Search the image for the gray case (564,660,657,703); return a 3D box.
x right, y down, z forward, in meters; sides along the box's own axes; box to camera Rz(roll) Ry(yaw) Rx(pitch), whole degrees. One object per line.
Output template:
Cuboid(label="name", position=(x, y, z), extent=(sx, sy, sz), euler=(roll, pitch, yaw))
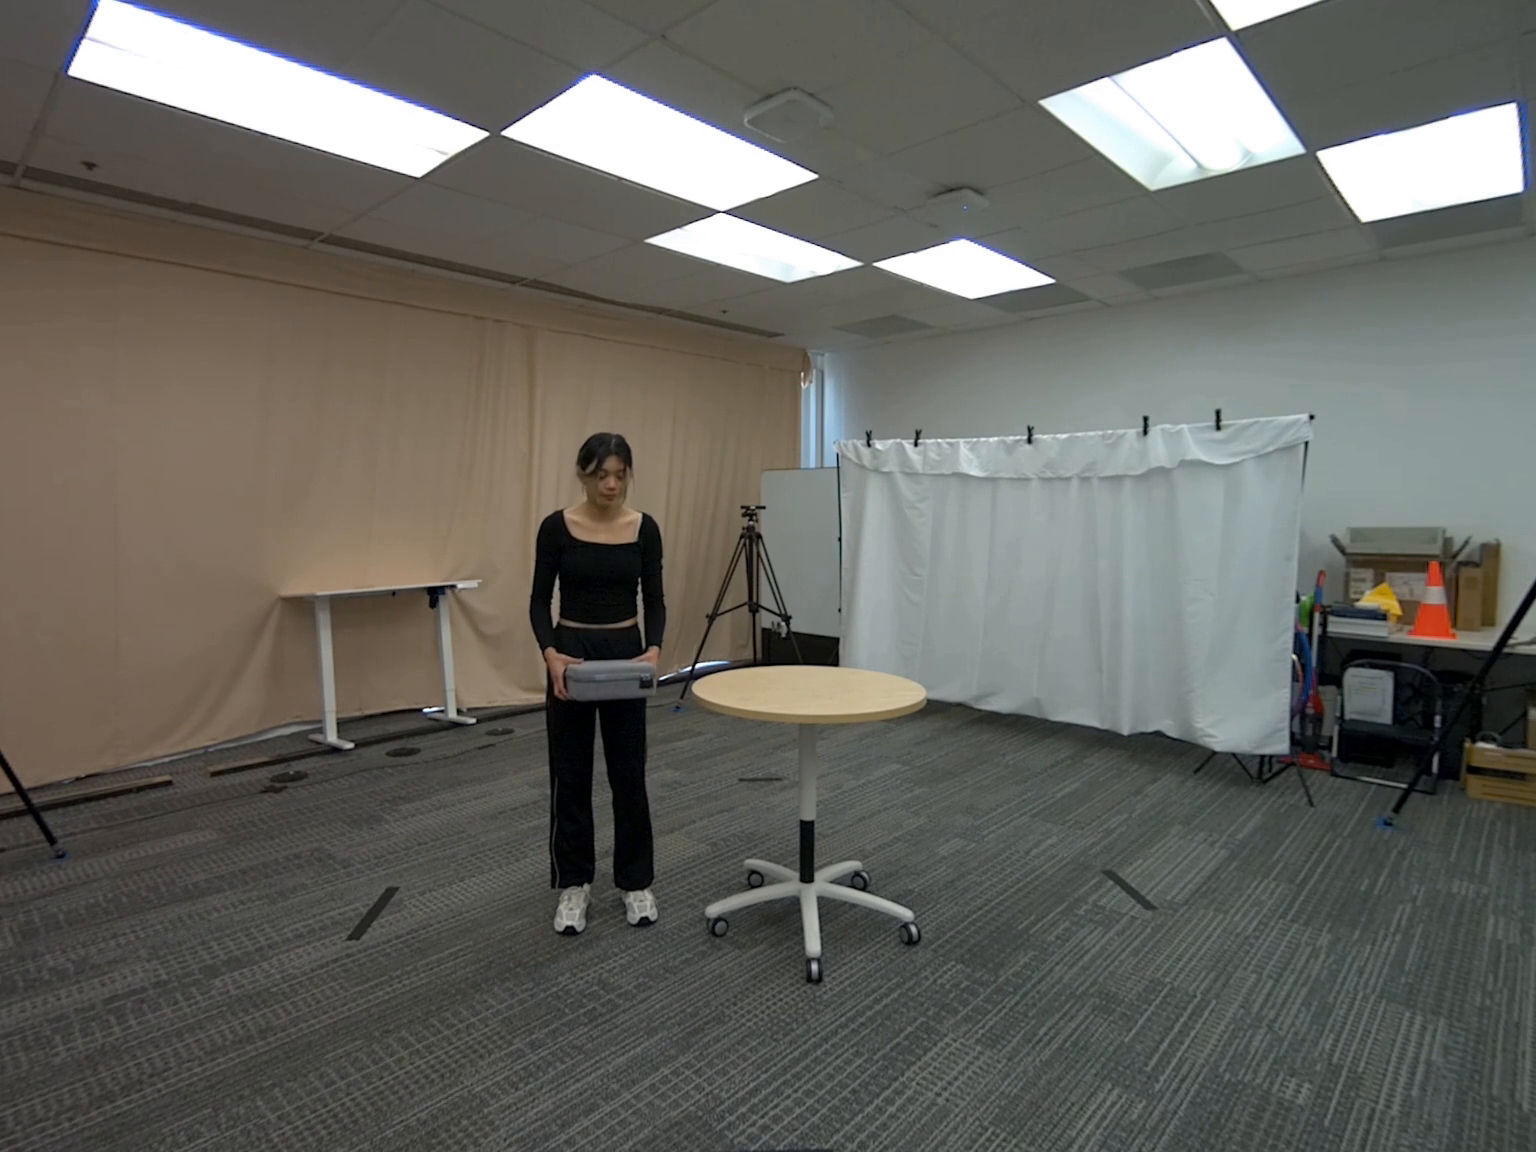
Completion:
Cuboid(label="gray case", position=(-0.494, 0.316, 2.608), extent=(0.252, 0.104, 0.265), euler=(-3, 0, -20))
